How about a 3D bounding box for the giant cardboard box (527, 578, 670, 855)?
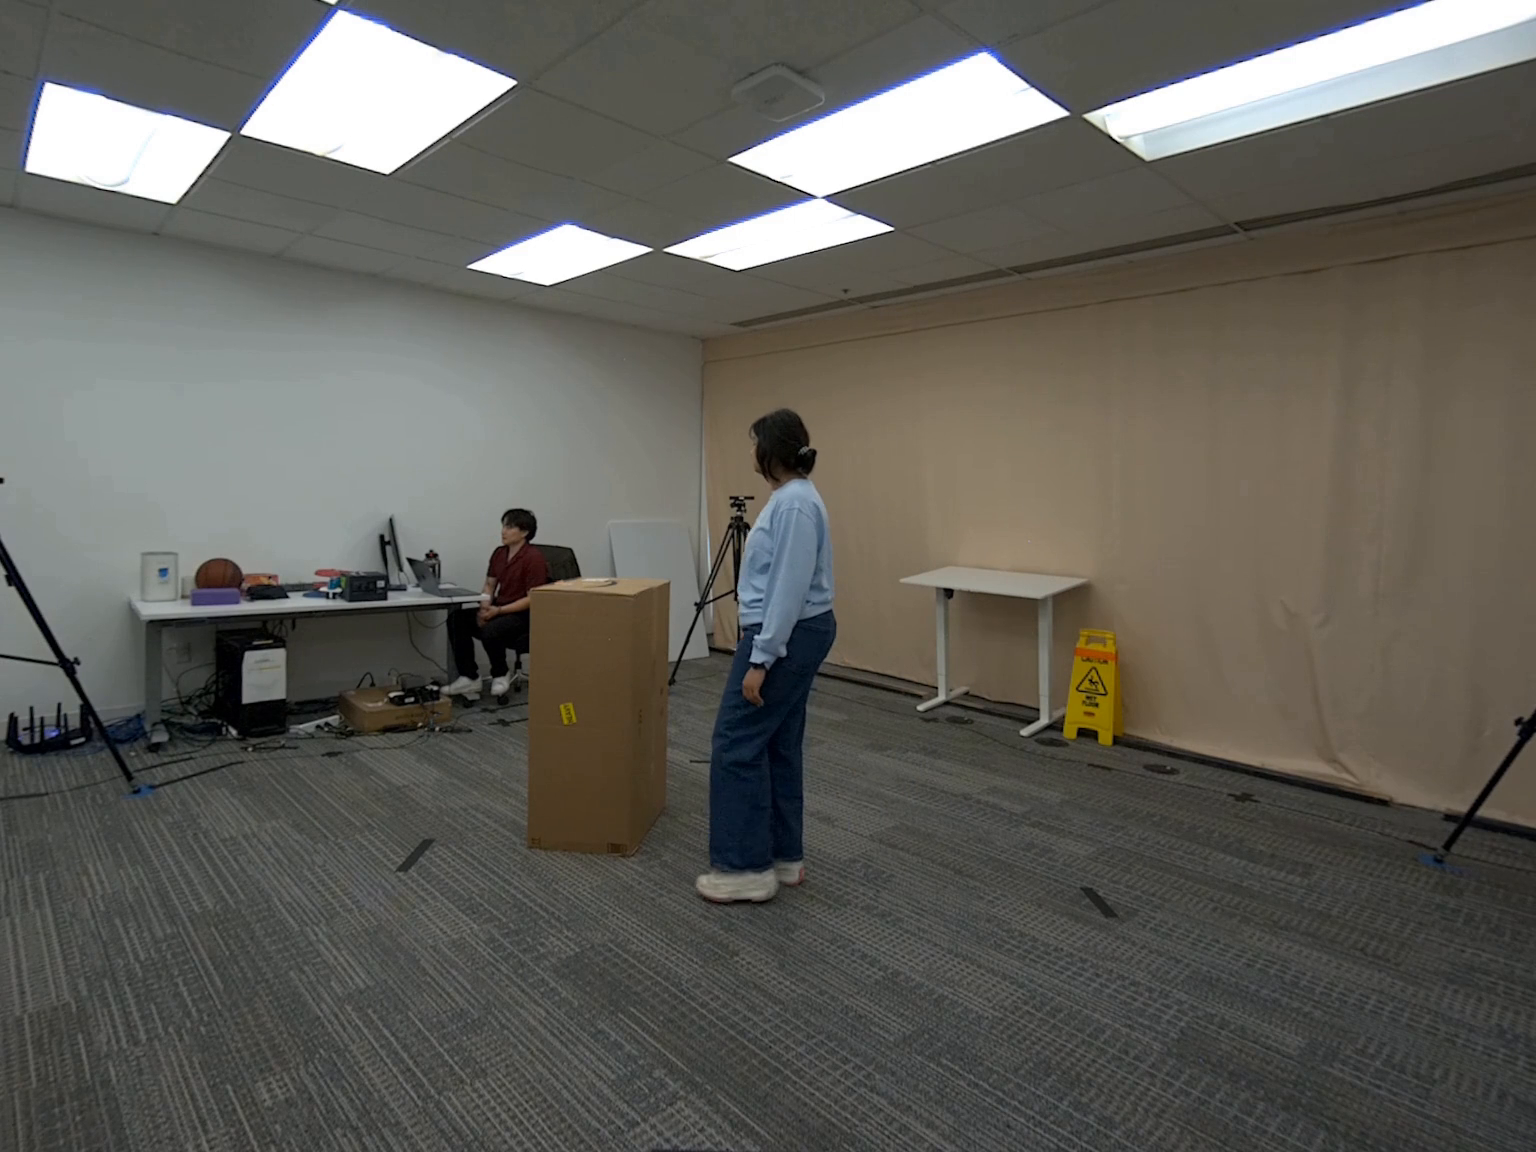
[{"bbox_3d":[-0.701,0.545,3.531,0.429,1.023,0.574,2,3,8],"label":"giant cardboard box"}]
